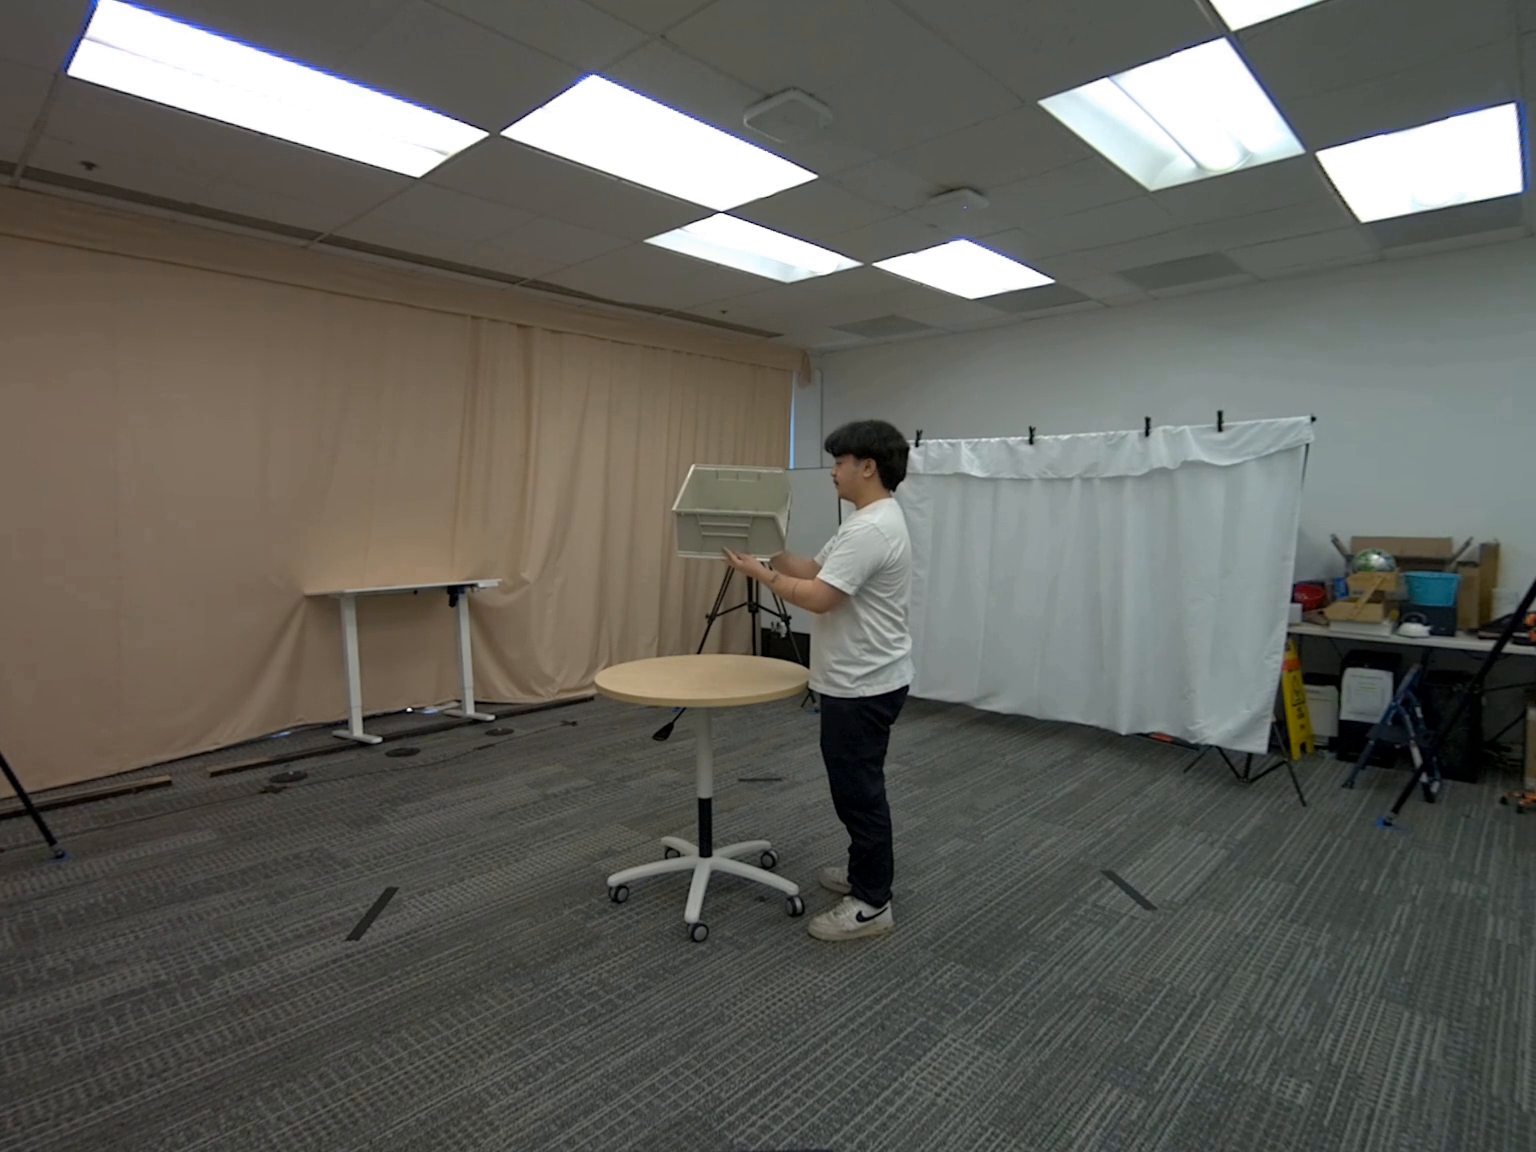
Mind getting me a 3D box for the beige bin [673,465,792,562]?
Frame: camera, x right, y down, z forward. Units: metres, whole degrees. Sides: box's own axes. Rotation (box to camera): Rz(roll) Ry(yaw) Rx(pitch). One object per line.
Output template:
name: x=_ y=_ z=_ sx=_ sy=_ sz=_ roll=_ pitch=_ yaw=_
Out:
beige bin: x=-0.102 y=-0.229 z=2.971 sx=0.380 sy=0.186 sz=0.426 roll=1 pitch=28 yaw=5
